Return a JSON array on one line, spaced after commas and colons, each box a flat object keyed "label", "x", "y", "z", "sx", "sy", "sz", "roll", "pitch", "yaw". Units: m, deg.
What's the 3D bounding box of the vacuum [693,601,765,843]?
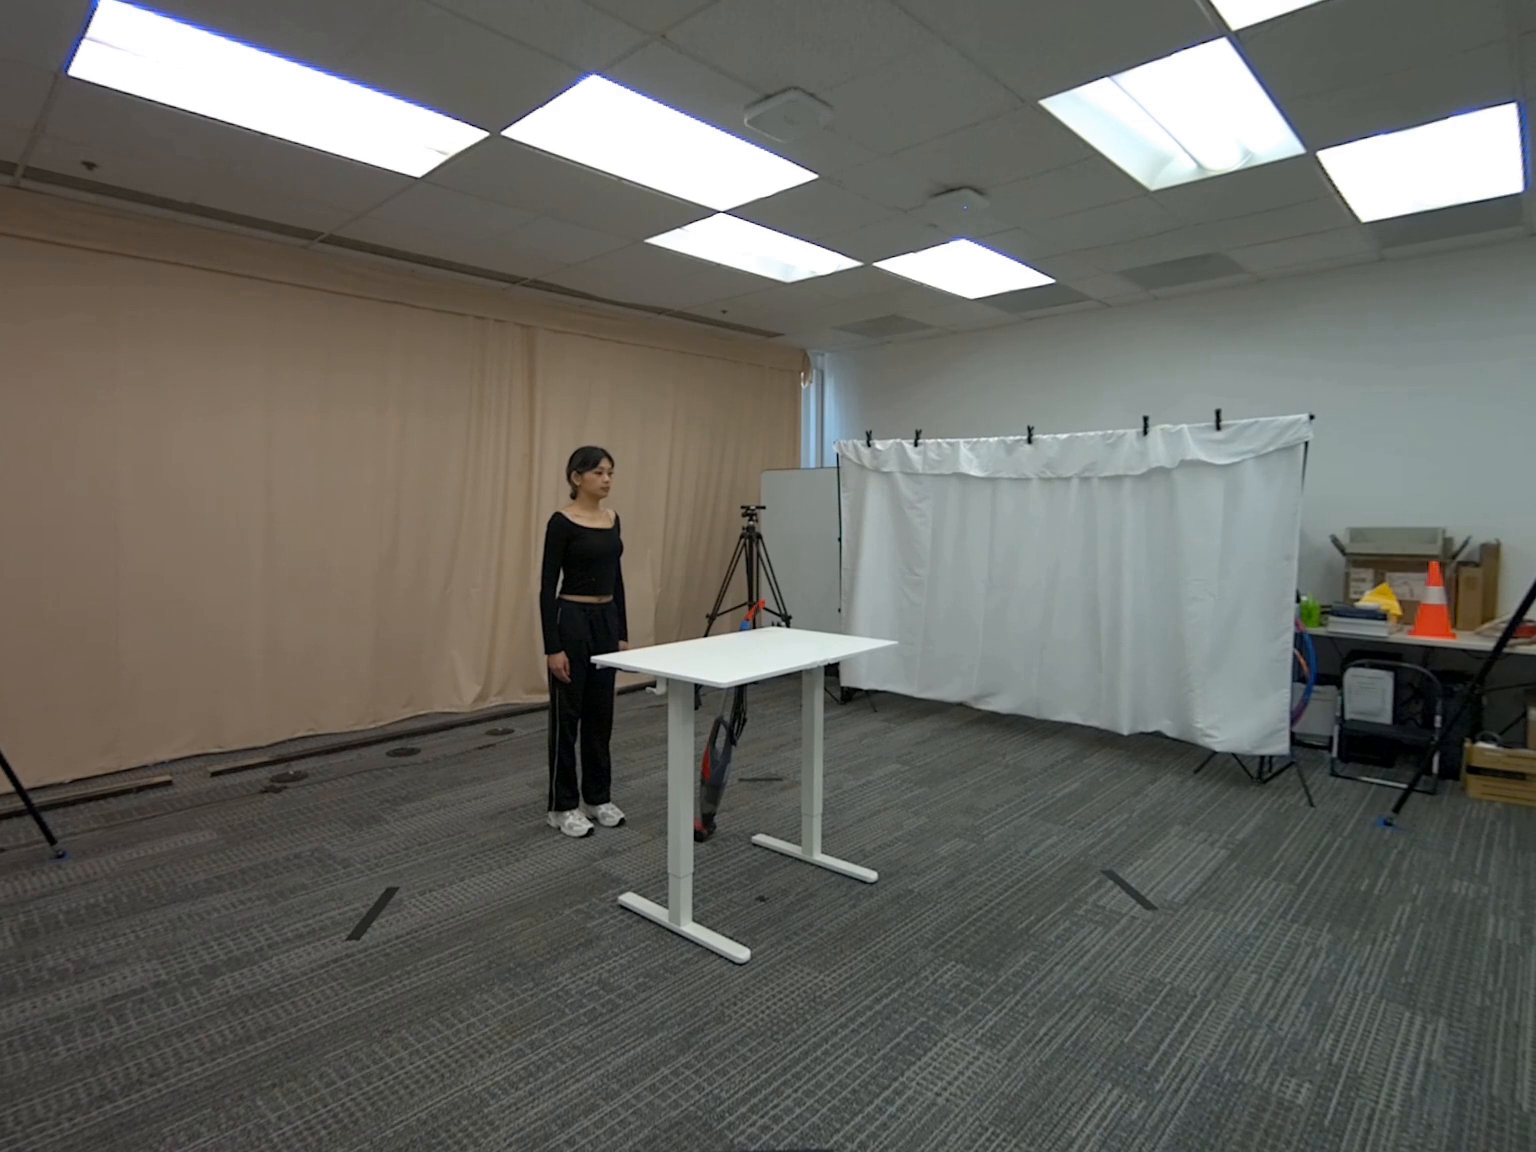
[{"label": "vacuum", "x": -0.166, "y": 0.608, "z": 3.486, "sx": 0.148, "sy": 1.046, "sz": 0.246, "roll": 21, "pitch": 11, "yaw": 23}]
